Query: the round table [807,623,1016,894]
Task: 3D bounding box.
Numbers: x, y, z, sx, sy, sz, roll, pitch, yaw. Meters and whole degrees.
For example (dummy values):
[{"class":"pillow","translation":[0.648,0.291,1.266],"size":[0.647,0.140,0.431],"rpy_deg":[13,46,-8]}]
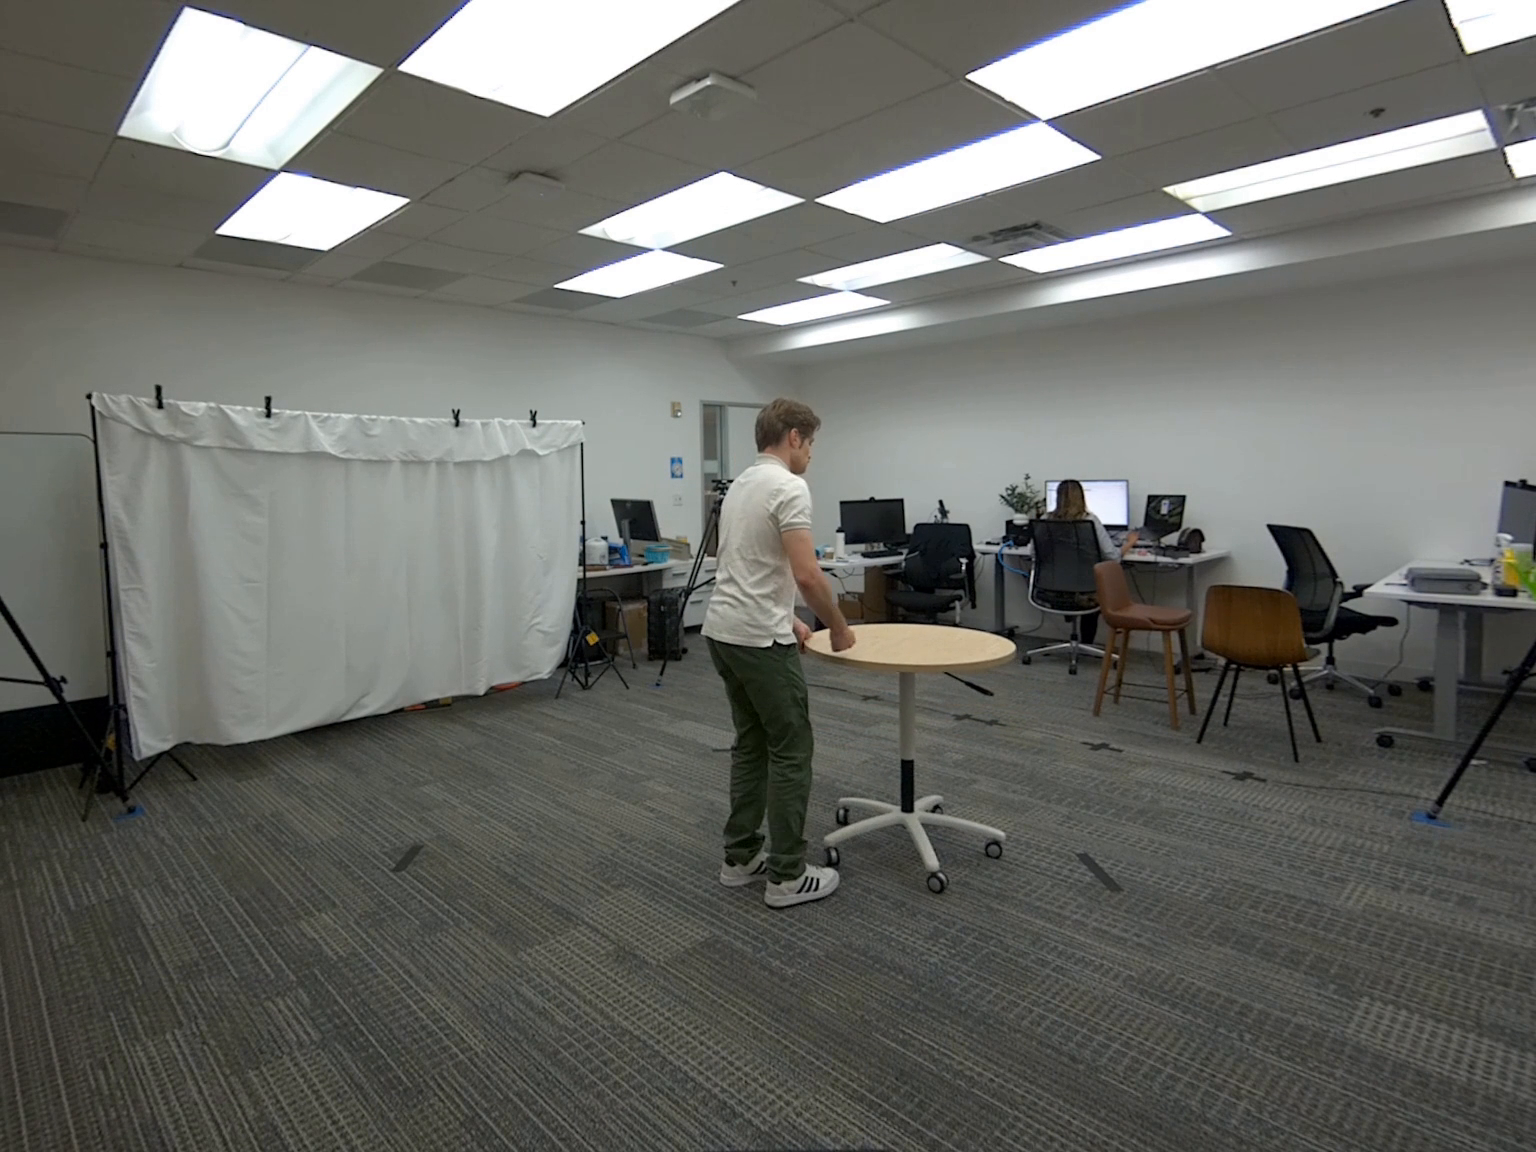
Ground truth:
[{"class":"round table","translation":[0.525,0.638,3.204],"size":[0.763,0.791,0.768],"rpy_deg":[-1,5,-2]}]
